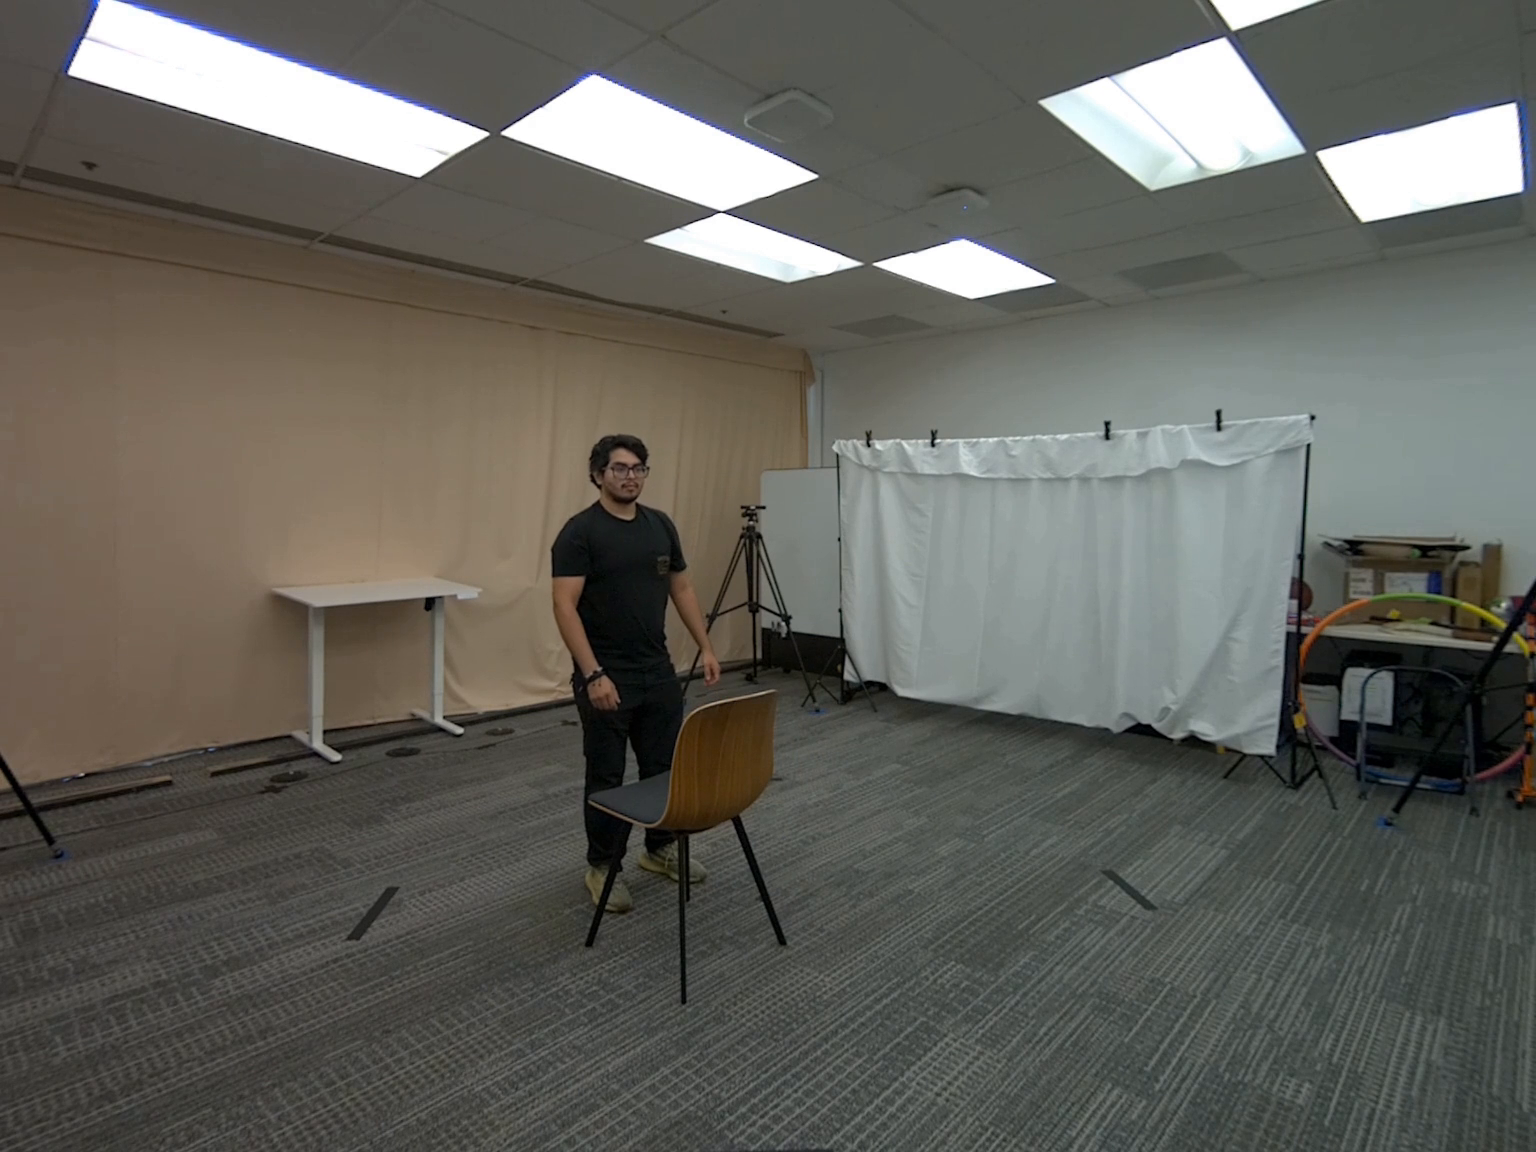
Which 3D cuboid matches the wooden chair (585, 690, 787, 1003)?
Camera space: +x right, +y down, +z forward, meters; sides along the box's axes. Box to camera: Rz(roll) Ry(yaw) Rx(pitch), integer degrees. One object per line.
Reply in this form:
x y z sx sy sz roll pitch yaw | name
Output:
-0.263 0.745 2.647 0.541 0.874 0.463 9 8 43 | wooden chair
